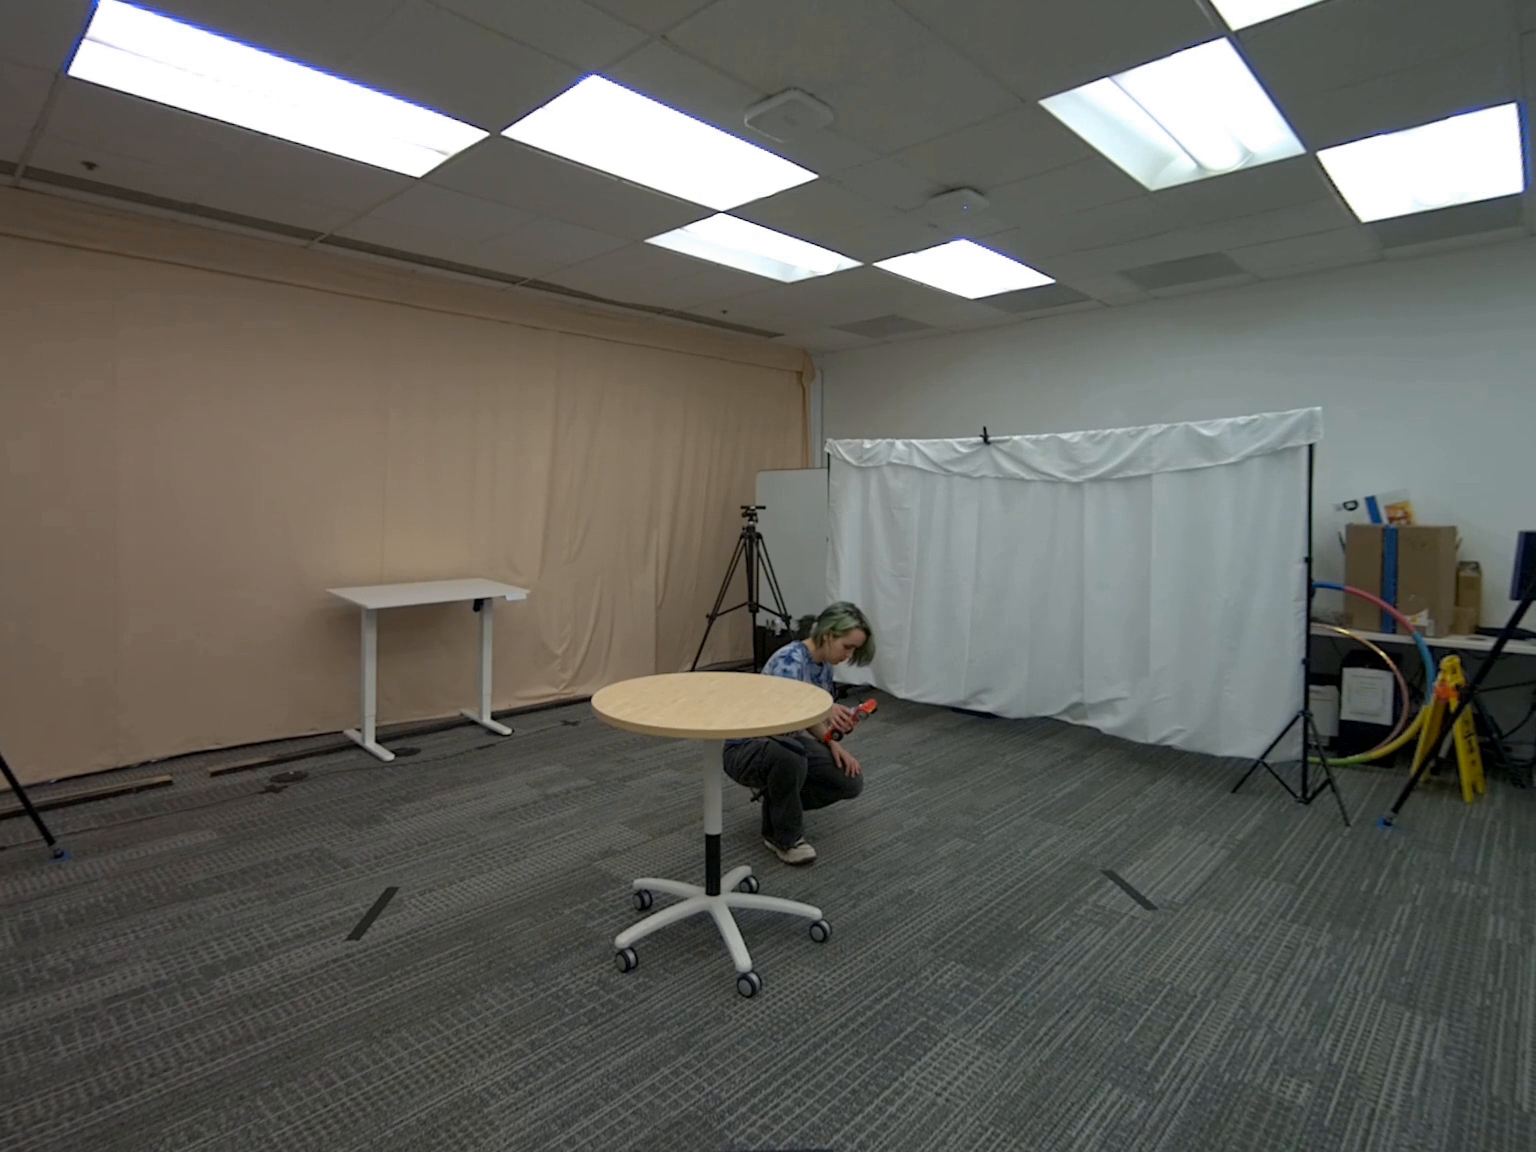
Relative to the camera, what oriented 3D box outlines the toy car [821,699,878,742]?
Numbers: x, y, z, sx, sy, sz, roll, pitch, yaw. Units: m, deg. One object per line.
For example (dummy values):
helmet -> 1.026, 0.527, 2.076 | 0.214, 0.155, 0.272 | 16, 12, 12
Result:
toy car -> 0.313, 0.567, 3.269 | 0.258, 0.084, 0.127 | -32, -6, 34
